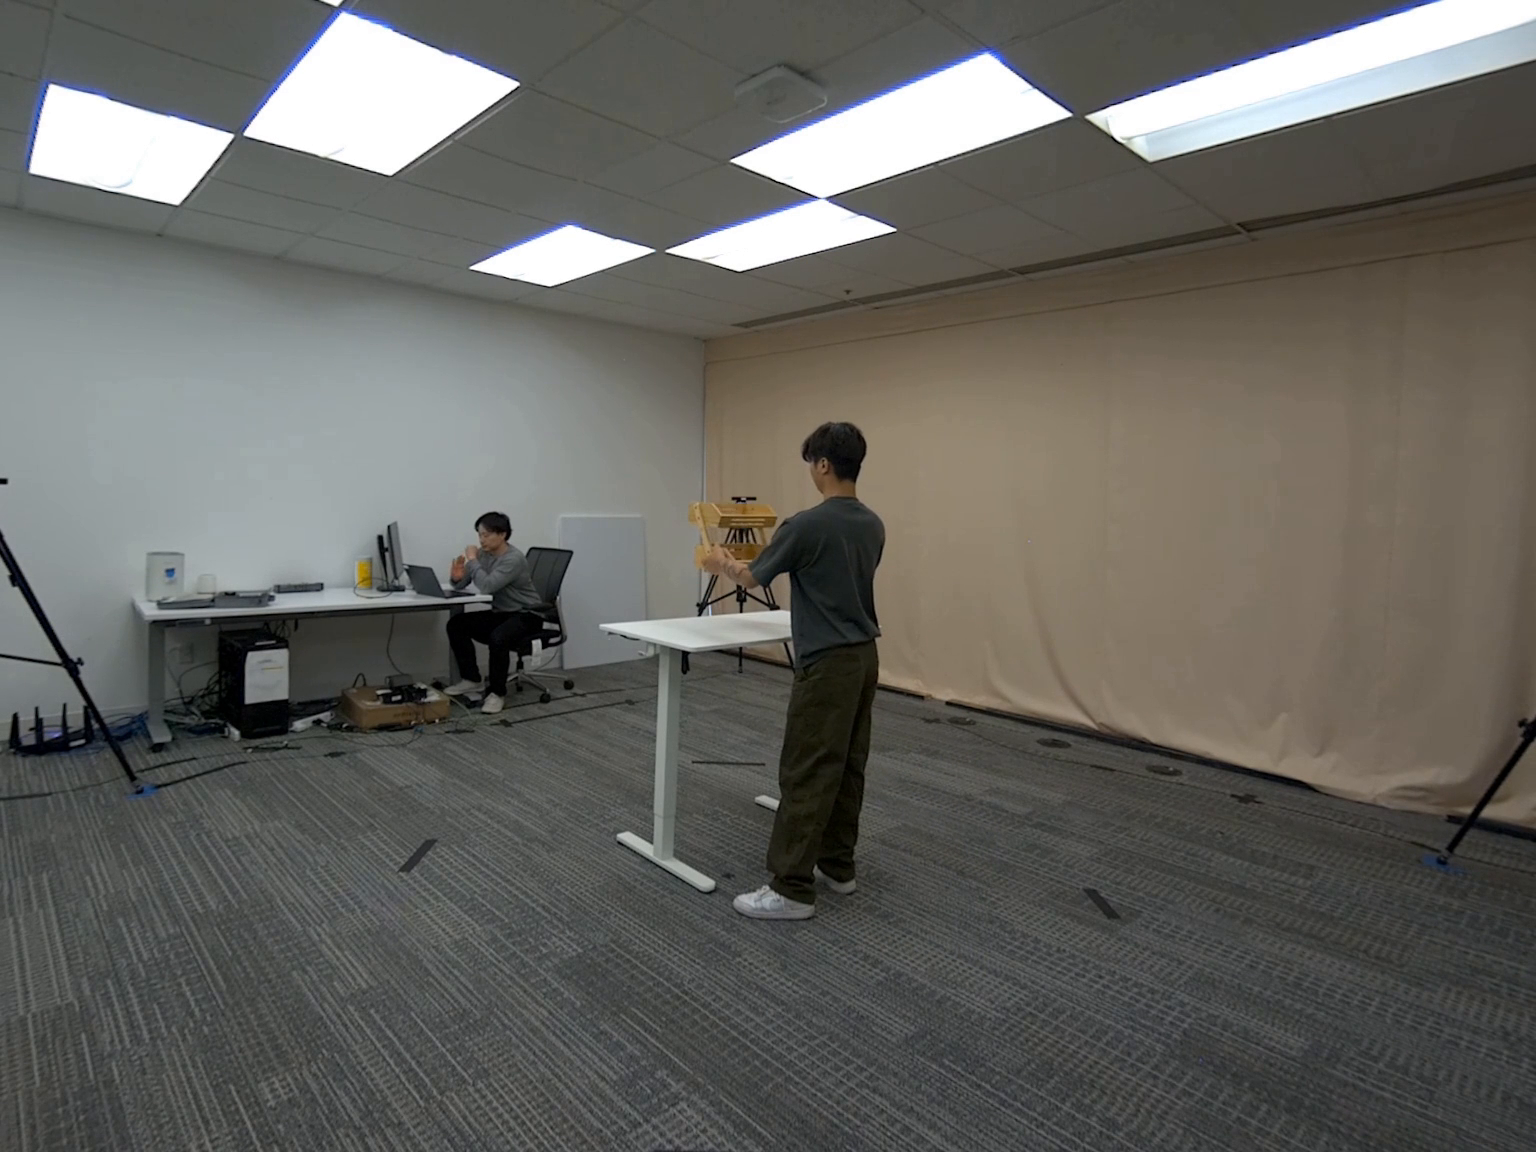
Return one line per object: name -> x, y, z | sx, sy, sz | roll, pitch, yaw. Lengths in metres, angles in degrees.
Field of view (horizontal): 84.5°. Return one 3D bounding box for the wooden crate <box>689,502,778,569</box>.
wooden crate -> -0.120, -0.163, 3.387 | 0.317, 0.272, 0.310 | -1, 6, -41
